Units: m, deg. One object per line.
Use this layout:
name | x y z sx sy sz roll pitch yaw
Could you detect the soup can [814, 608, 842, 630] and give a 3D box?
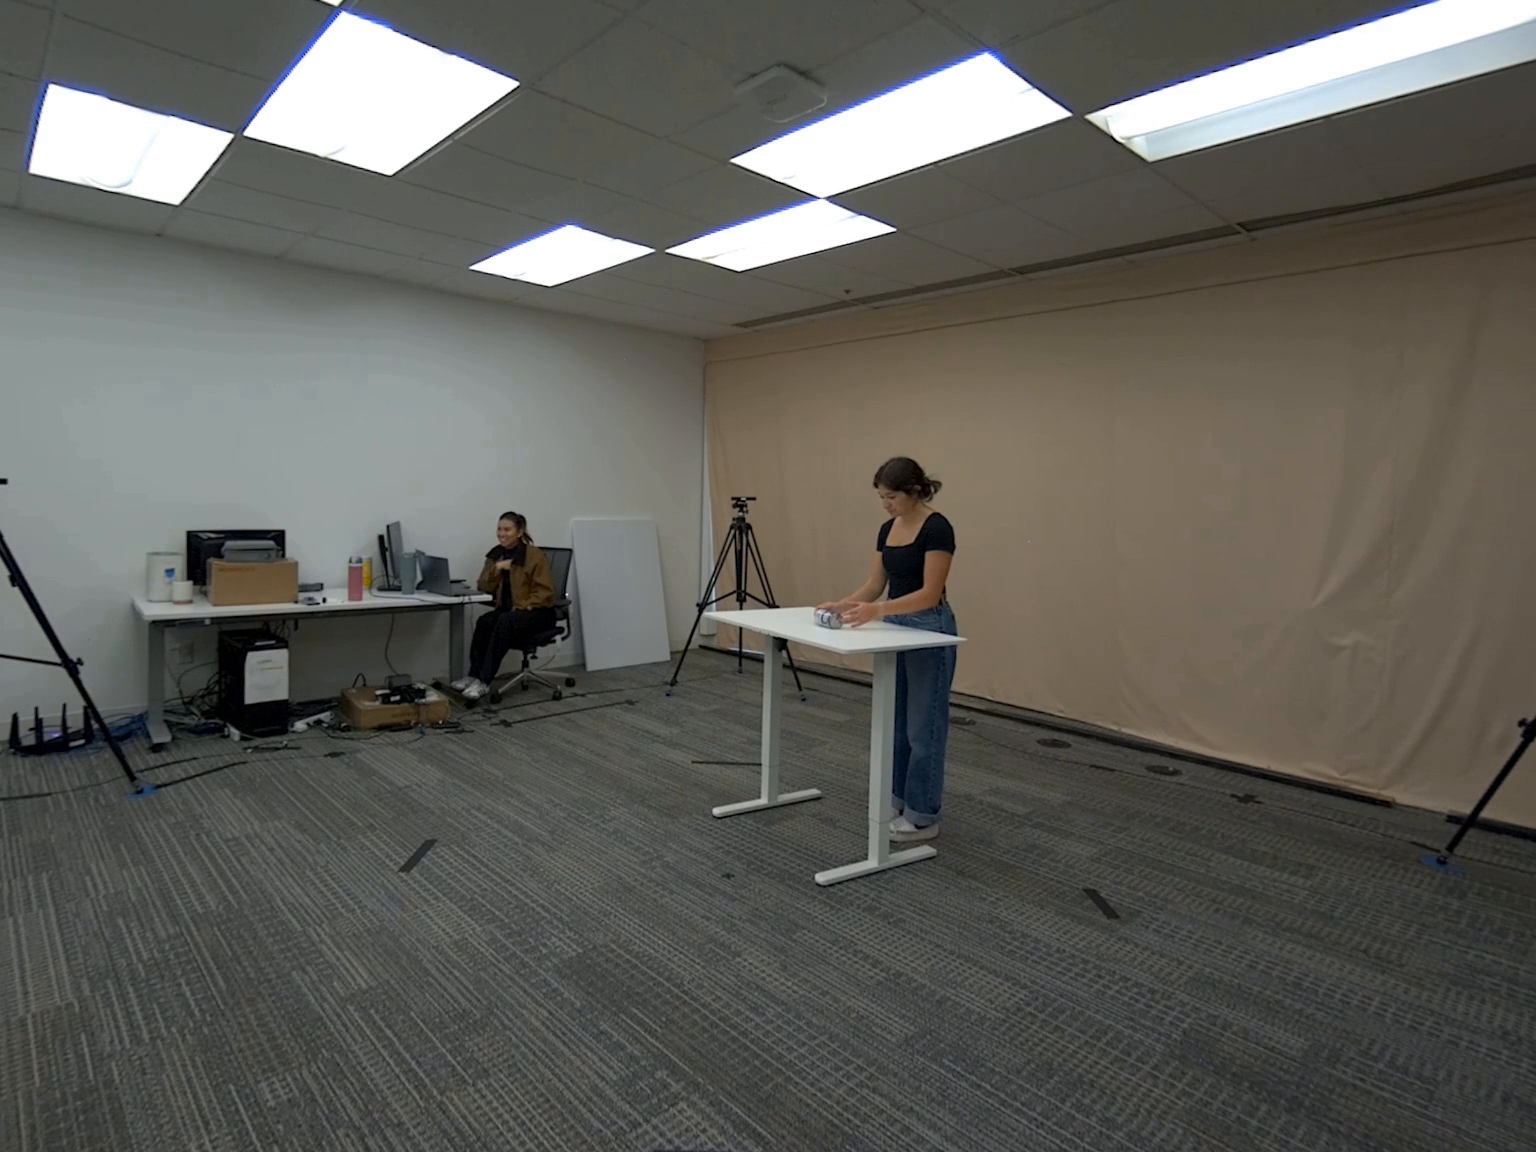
soup can | 0.248 0.176 3.416 0.066 0.067 0.123 0 4 -17
